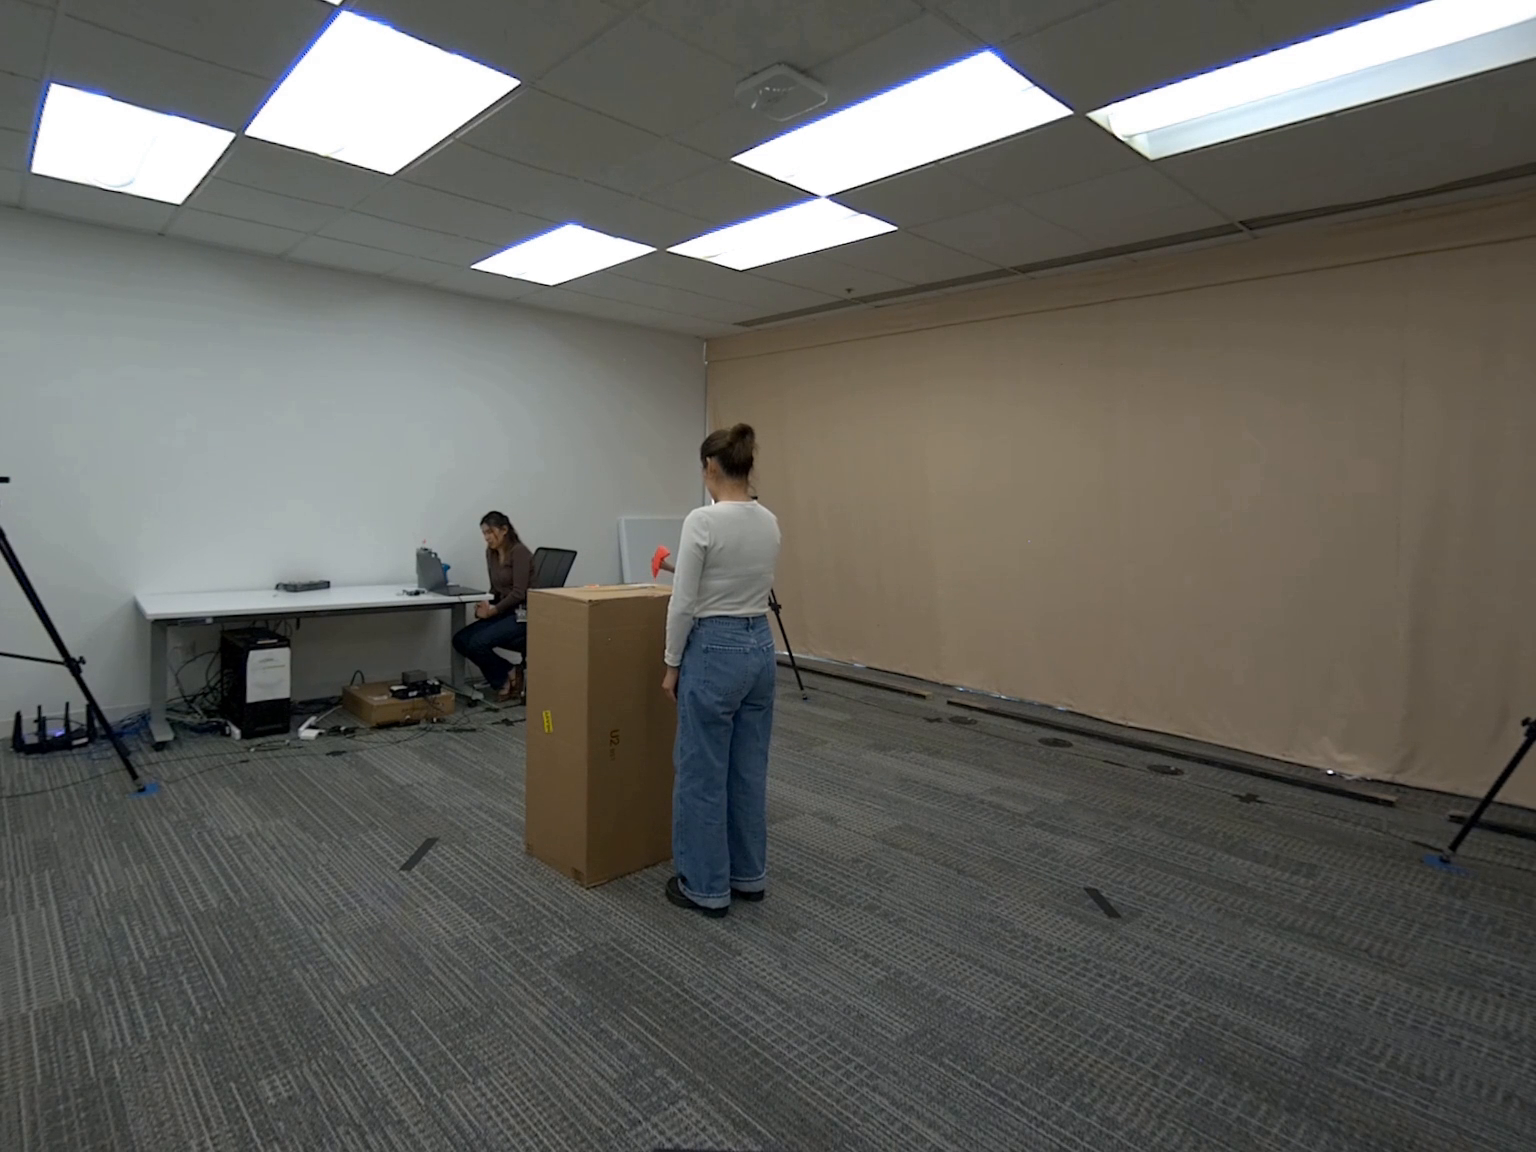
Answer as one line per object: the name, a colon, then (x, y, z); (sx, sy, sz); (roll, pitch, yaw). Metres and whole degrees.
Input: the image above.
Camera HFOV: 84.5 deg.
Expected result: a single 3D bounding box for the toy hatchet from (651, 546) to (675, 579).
toy hatchet: (-0.369, -0.050, 3.301); (0.276, 0.131, 0.029); (0, -3, 39)
